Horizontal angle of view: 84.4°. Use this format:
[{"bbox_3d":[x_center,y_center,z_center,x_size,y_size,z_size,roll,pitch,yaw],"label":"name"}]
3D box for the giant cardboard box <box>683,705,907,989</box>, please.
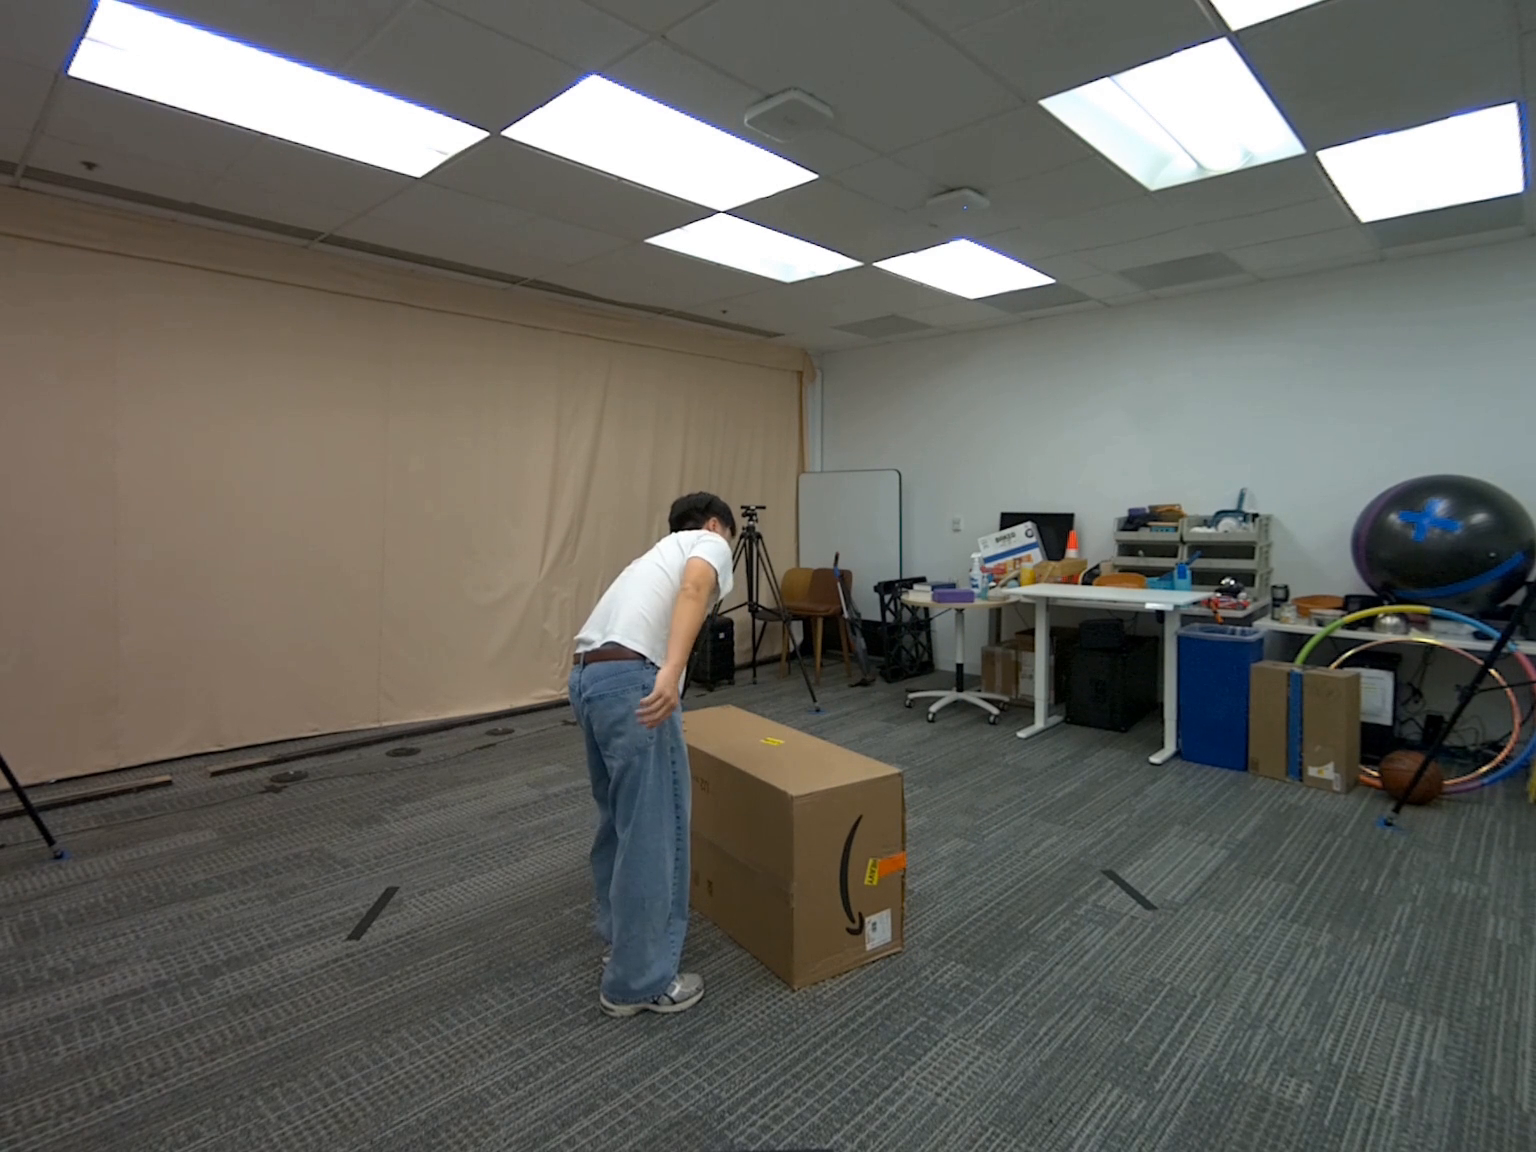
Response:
[{"bbox_3d":[-0.032,0.861,2.943,0.414,0.576,1.057,-3,5,-33],"label":"giant cardboard box"}]
